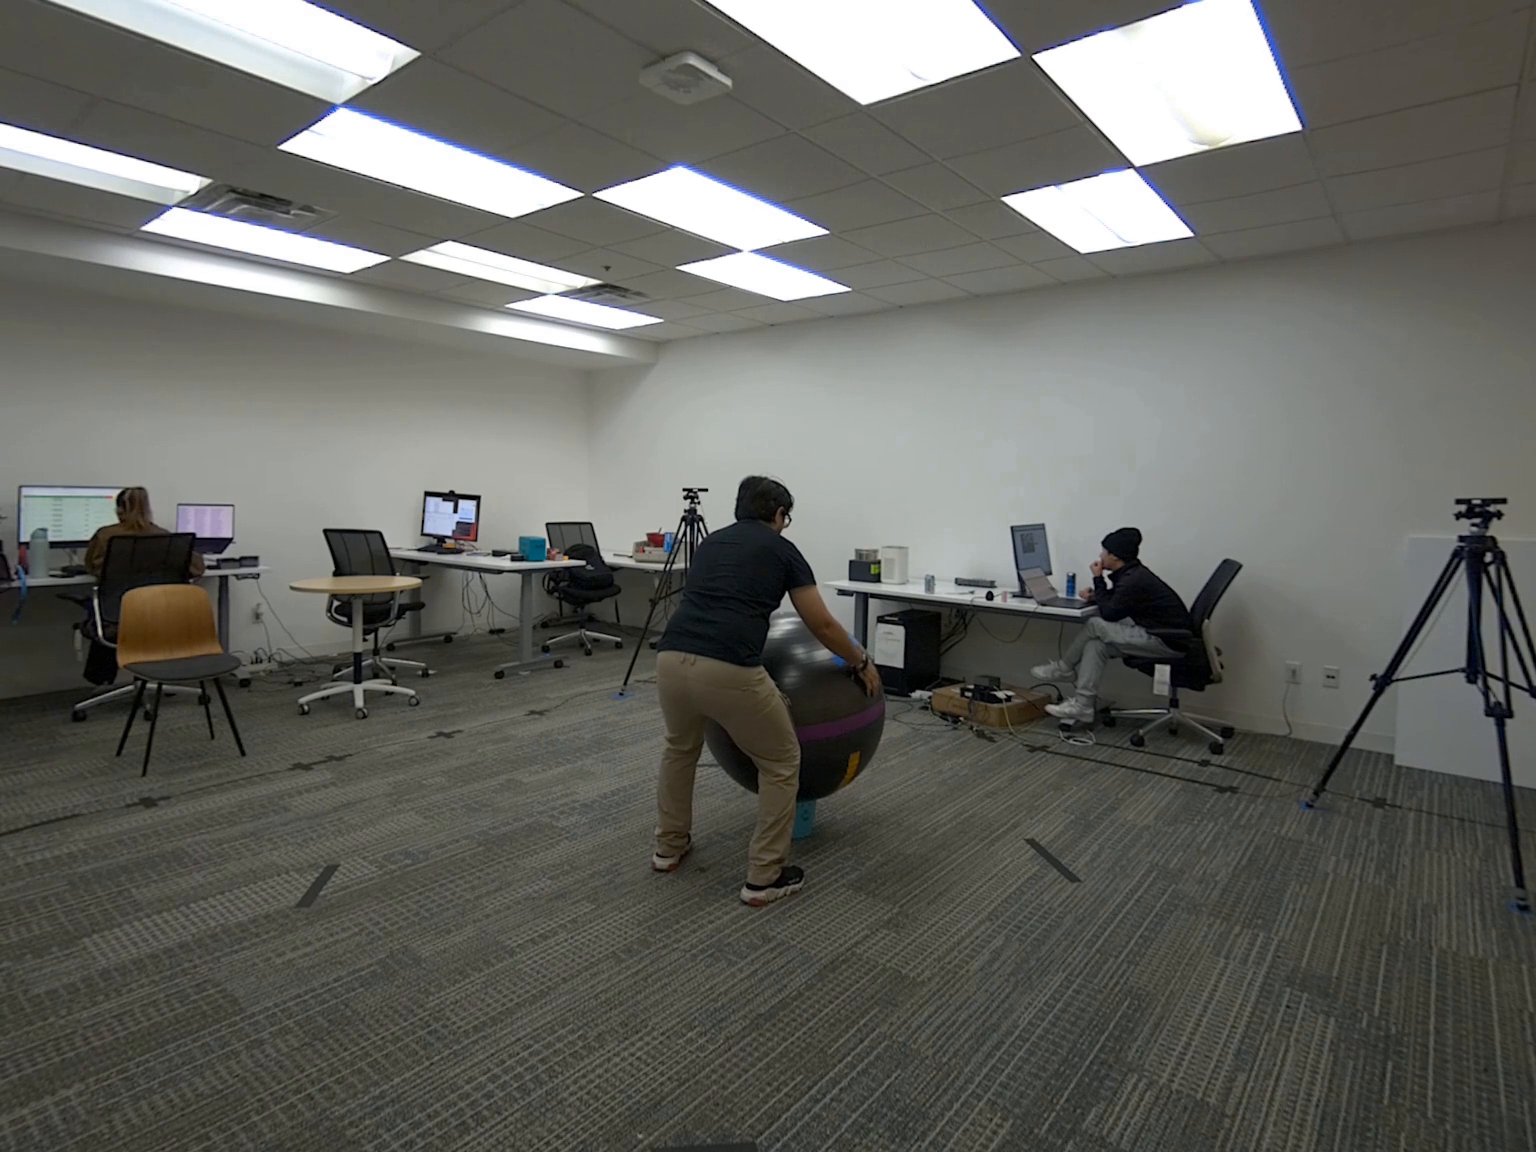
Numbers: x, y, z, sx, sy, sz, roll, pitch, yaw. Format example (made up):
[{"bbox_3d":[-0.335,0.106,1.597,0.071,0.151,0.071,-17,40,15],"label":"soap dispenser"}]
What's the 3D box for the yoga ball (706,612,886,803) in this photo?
[{"bbox_3d":[0.087,0.526,3.477,0.757,0.755,0.762,1,4,-2],"label":"yoga ball"}]
